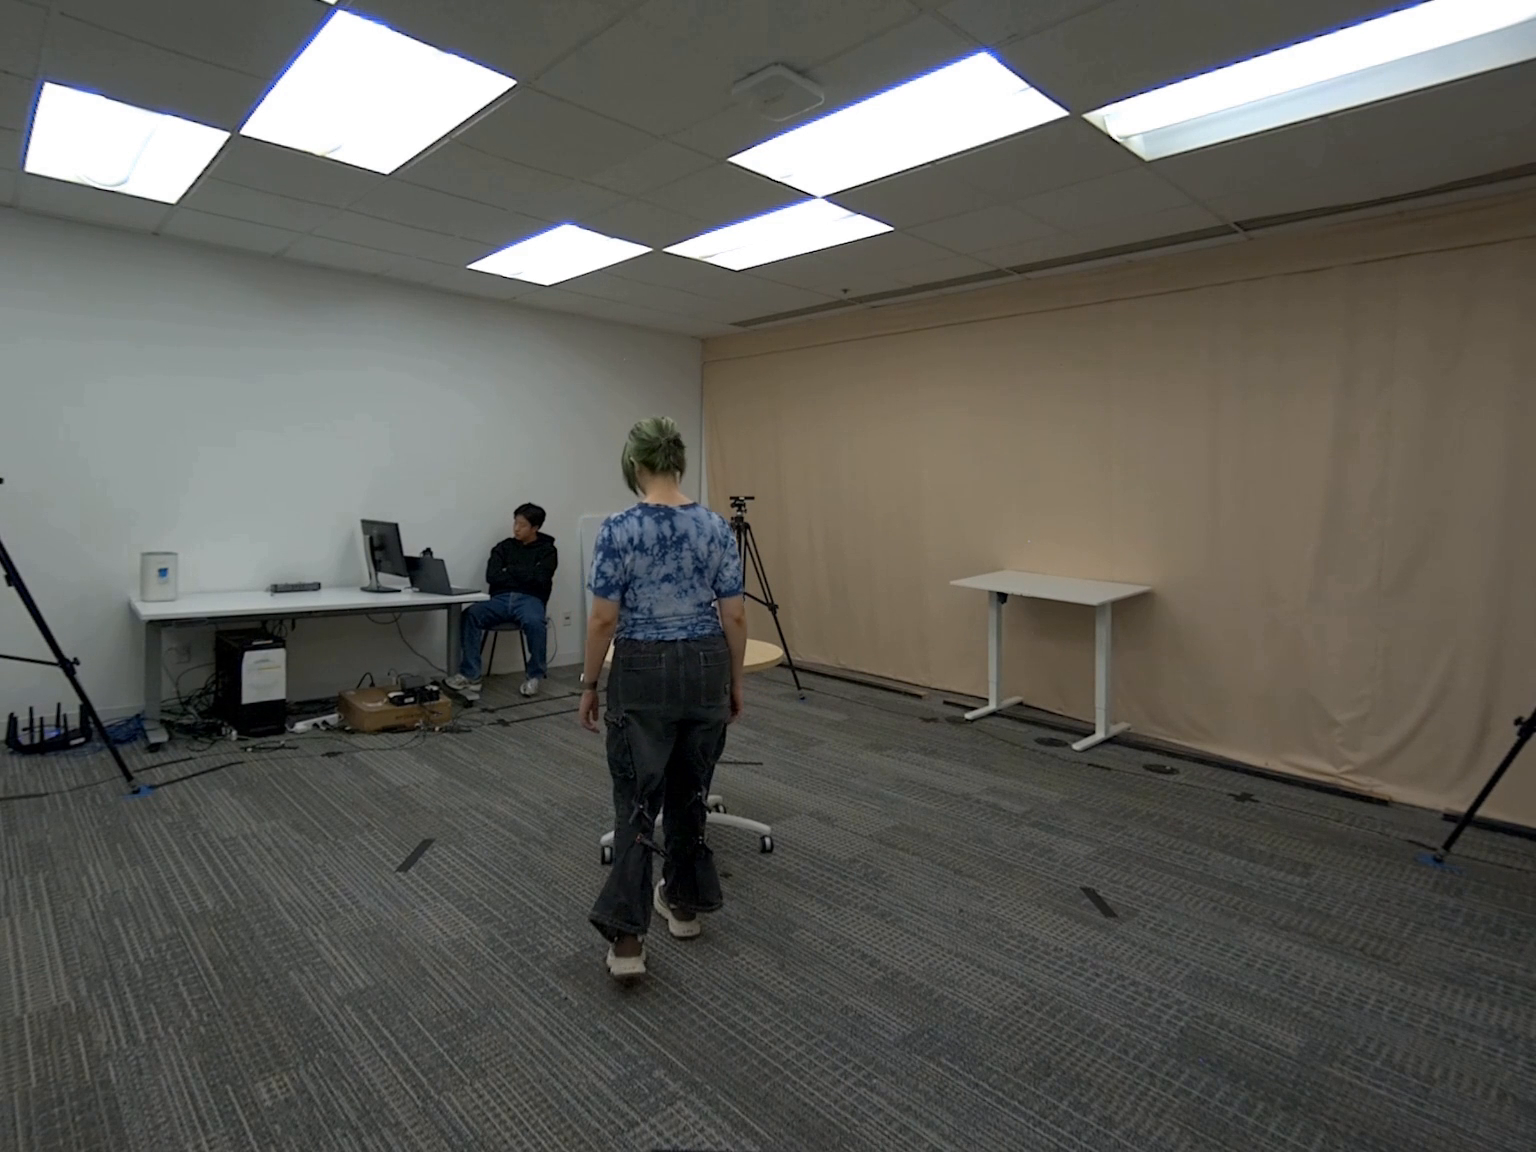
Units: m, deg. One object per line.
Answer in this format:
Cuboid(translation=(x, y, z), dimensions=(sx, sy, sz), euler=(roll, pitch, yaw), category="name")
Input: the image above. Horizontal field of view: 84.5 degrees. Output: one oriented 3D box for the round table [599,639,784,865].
Cuboid(translation=(-0.337, 0.692, 3.355), dimensions=(0.763, 0.792, 0.767), euler=(1, 4, -1), category="round table")
